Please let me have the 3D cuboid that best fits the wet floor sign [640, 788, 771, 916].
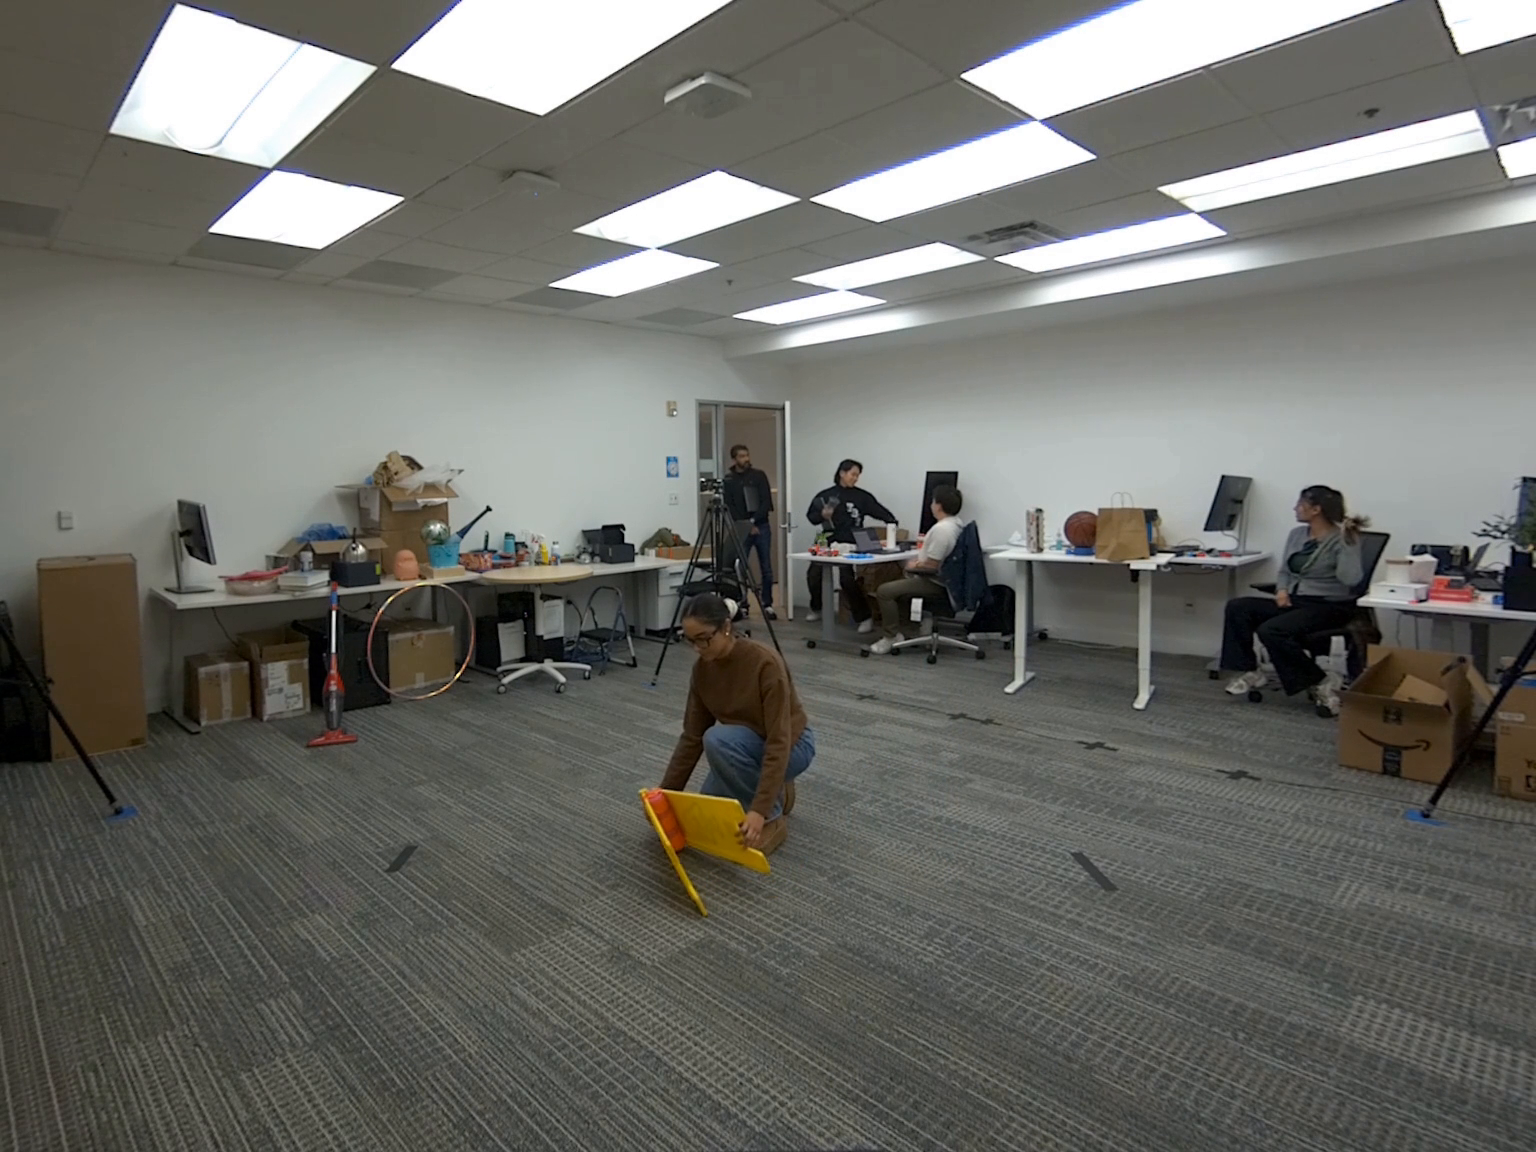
[{"bbox_3d":[-0.305,0.922,3.054,0.286,0.279,0.660,-26,11,-26],"label":"wet floor sign"}]
